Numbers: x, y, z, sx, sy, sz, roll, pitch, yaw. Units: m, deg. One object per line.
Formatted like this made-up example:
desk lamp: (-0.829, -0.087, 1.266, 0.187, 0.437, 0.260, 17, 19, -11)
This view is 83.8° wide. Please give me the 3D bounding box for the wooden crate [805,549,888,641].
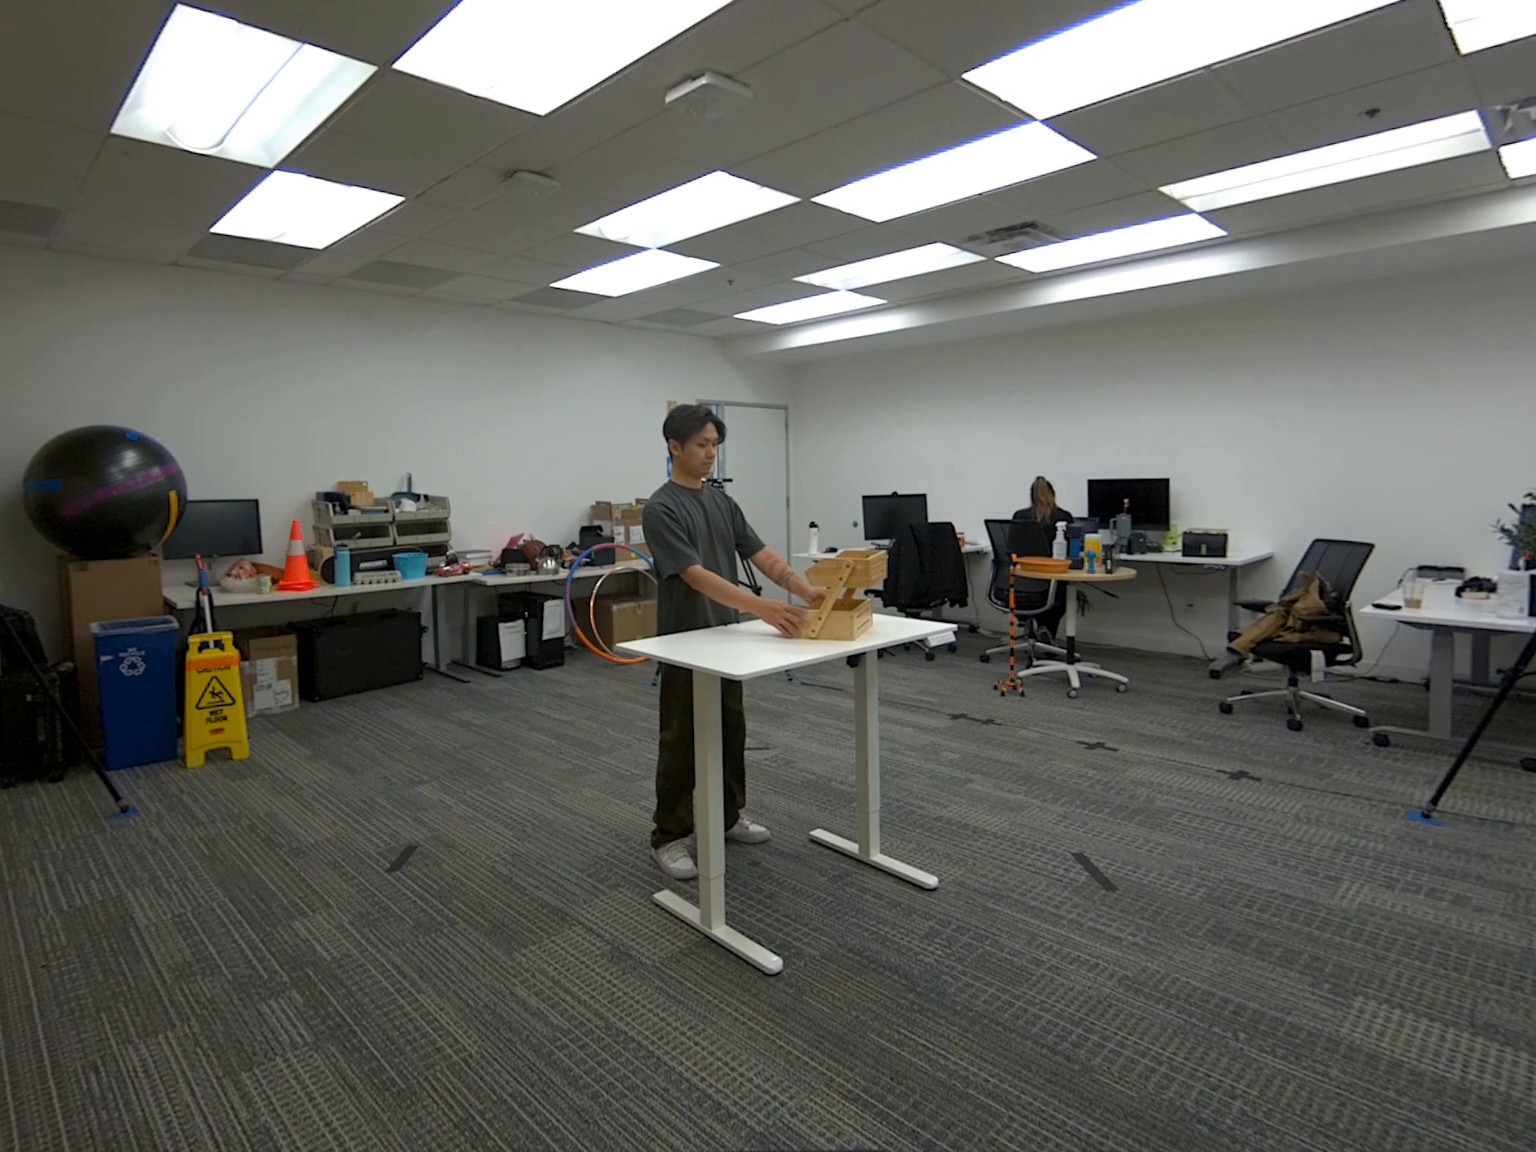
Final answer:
wooden crate: (0.221, 0.054, 2.841, 0.308, 0.272, 0.320, 0, 5, 19)
